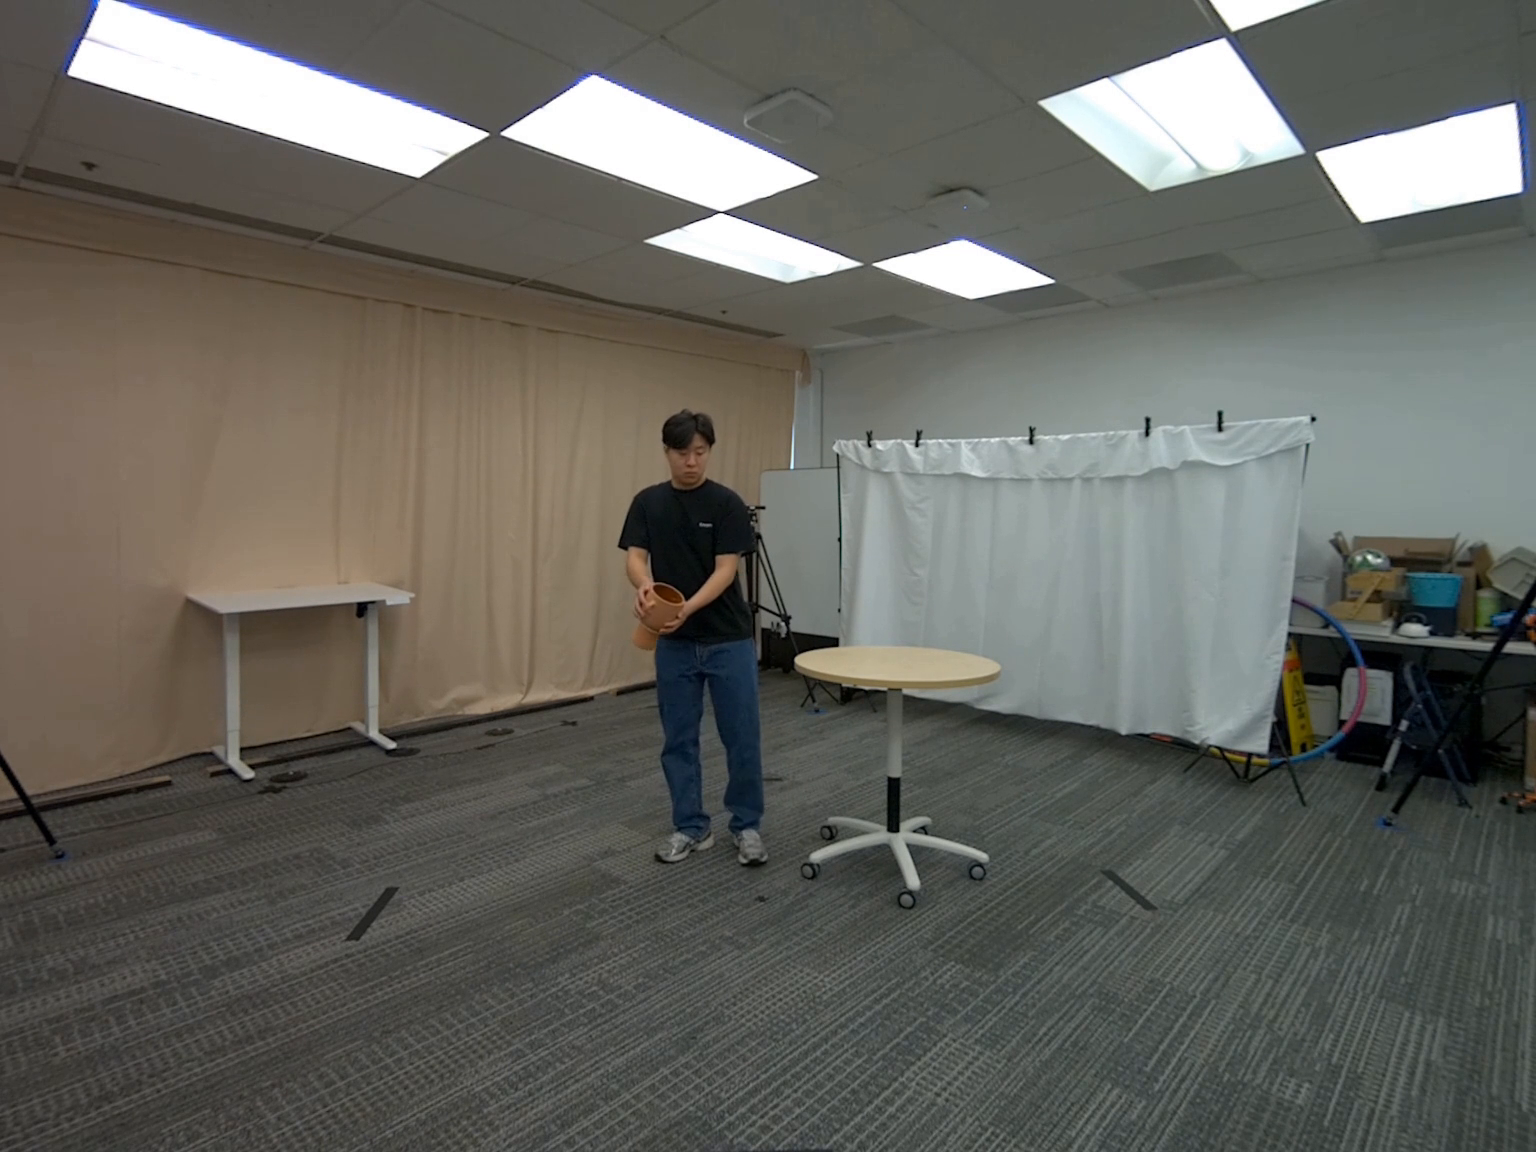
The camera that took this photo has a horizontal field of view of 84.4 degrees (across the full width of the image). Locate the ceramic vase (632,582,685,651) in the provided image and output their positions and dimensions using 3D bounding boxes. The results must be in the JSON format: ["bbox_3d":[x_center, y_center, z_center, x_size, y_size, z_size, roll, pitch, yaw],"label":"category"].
[{"bbox_3d":[-0.396,0.152,3.026,0.154,0.219,0.138,18,25,-28],"label":"ceramic vase"}]
